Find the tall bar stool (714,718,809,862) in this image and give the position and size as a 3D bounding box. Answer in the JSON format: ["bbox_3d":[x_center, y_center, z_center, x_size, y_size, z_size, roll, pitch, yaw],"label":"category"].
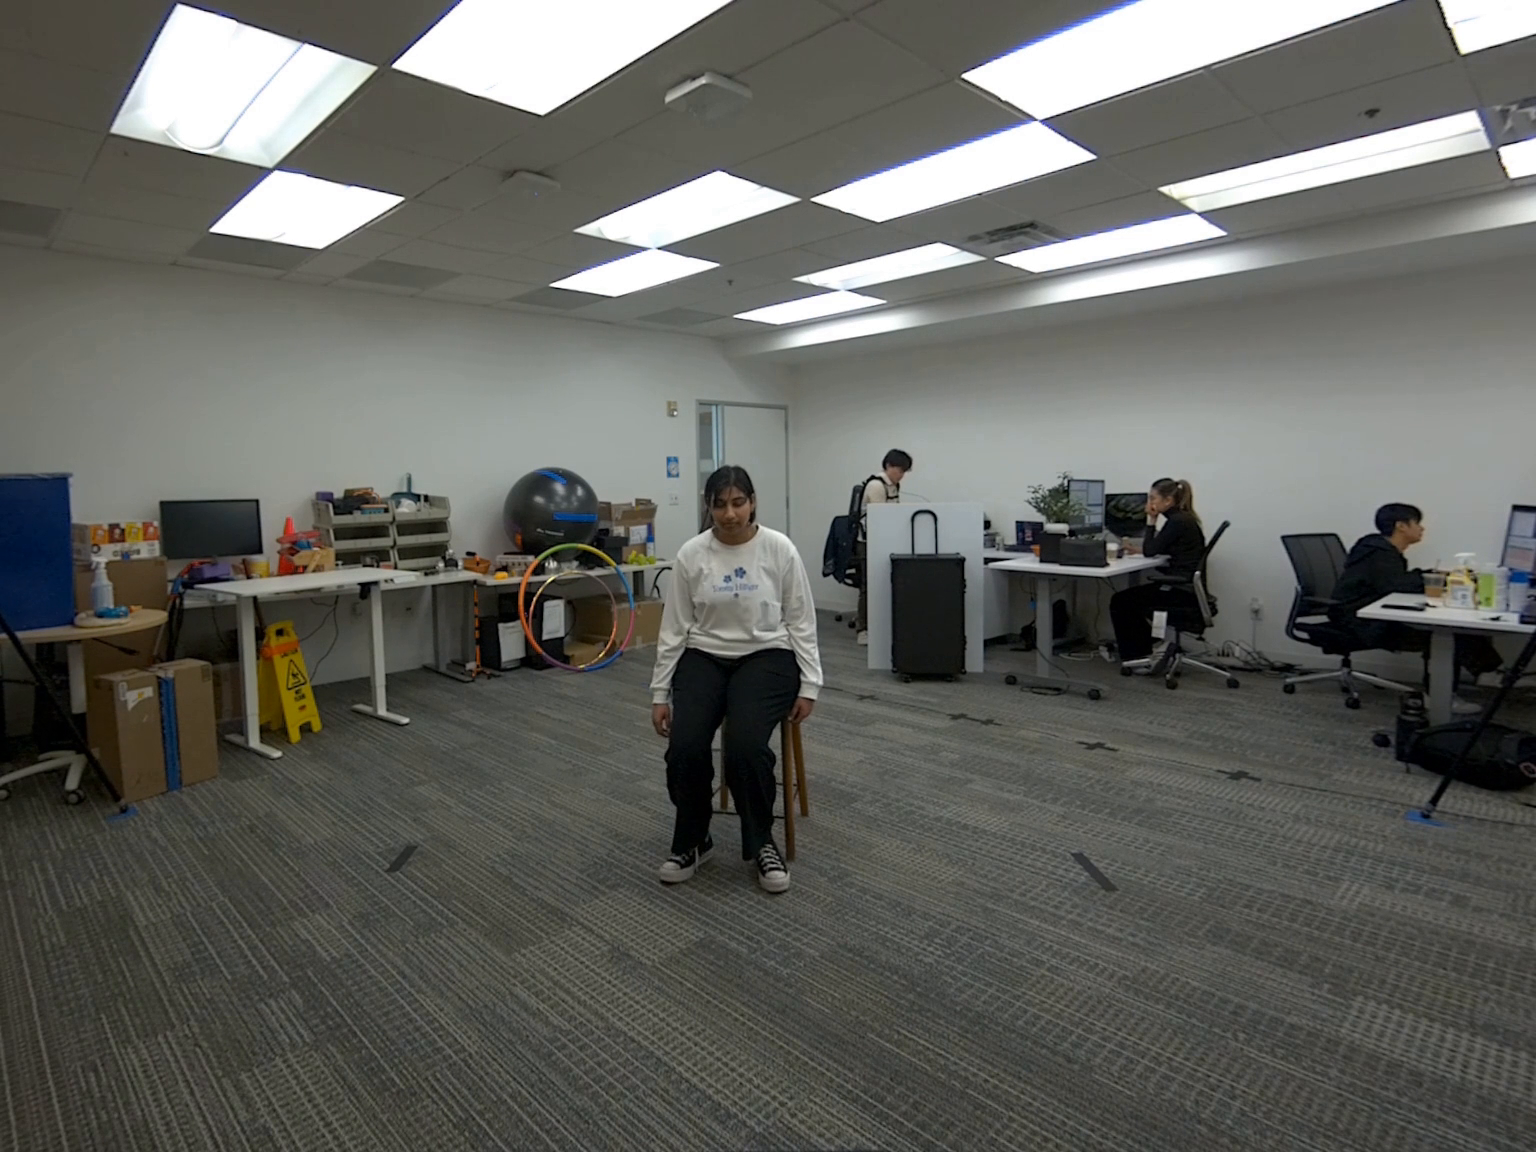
[{"bbox_3d":[-0.055,0.582,3.368,0.463,0.888,0.462,0,2,14],"label":"tall bar stool"}]
